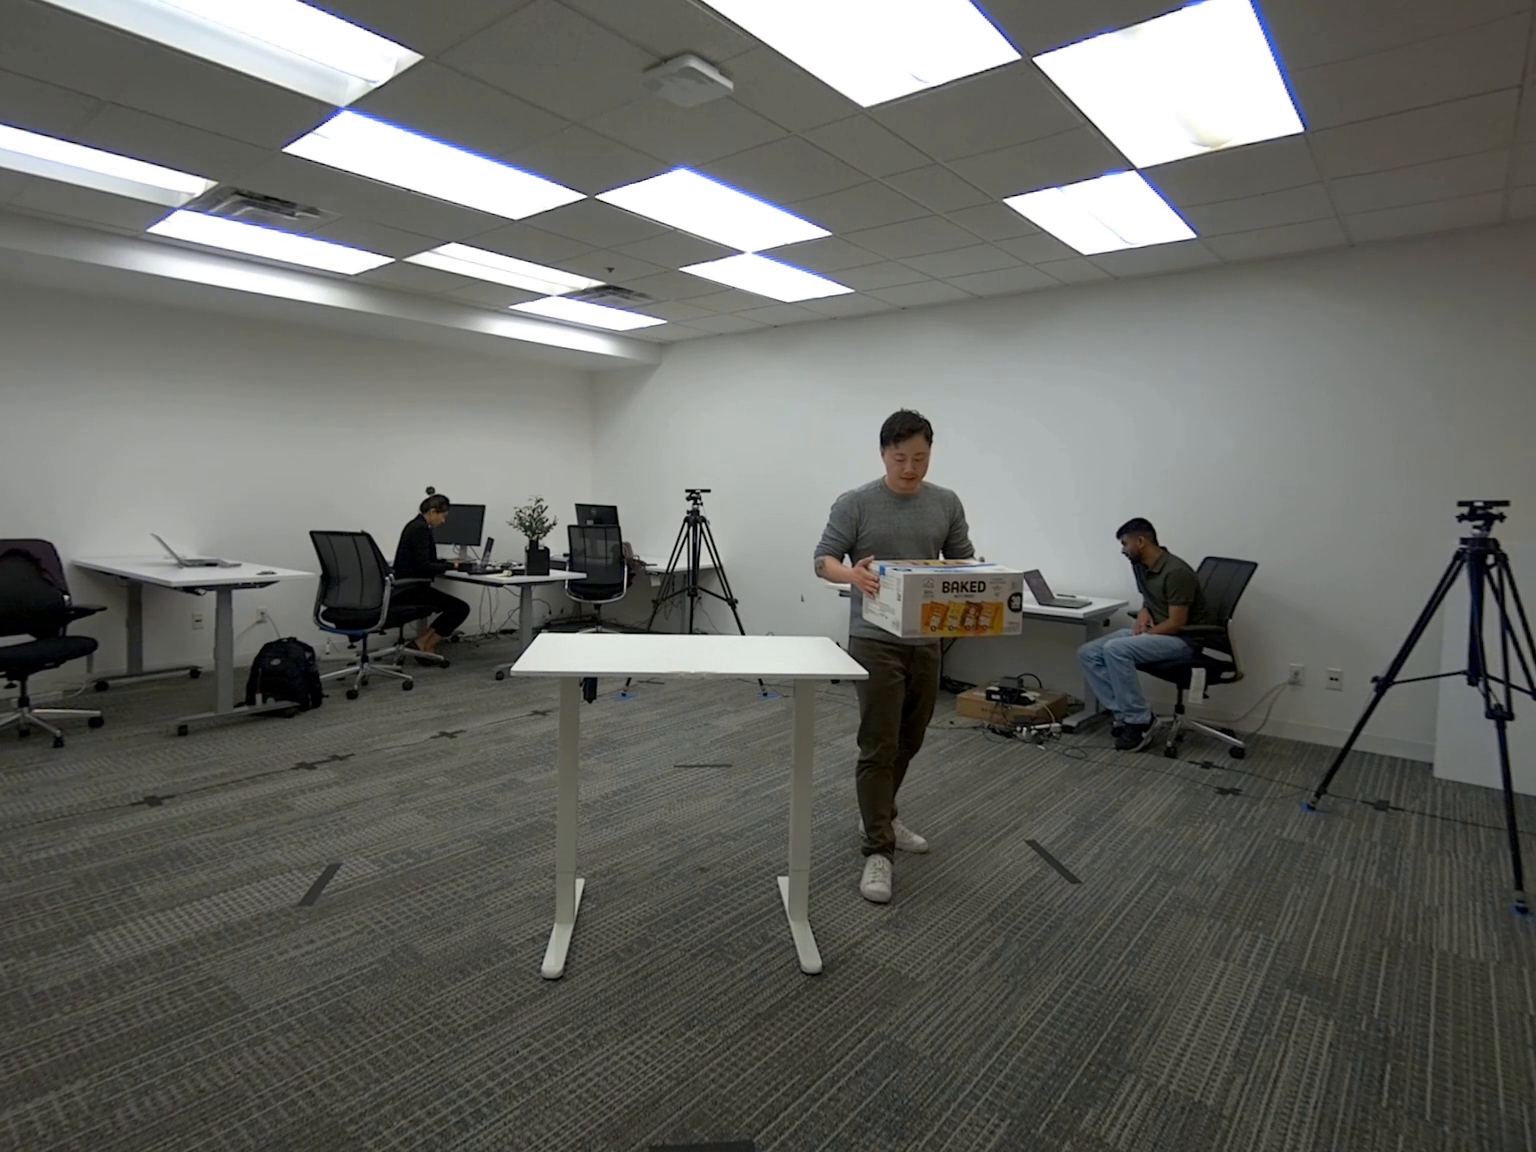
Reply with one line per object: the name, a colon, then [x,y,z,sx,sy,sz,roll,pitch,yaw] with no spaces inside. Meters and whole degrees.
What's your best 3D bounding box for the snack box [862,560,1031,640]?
snack box: [0.562,0.064,2.789,0.400,0.205,0.346,0,6,-12]
